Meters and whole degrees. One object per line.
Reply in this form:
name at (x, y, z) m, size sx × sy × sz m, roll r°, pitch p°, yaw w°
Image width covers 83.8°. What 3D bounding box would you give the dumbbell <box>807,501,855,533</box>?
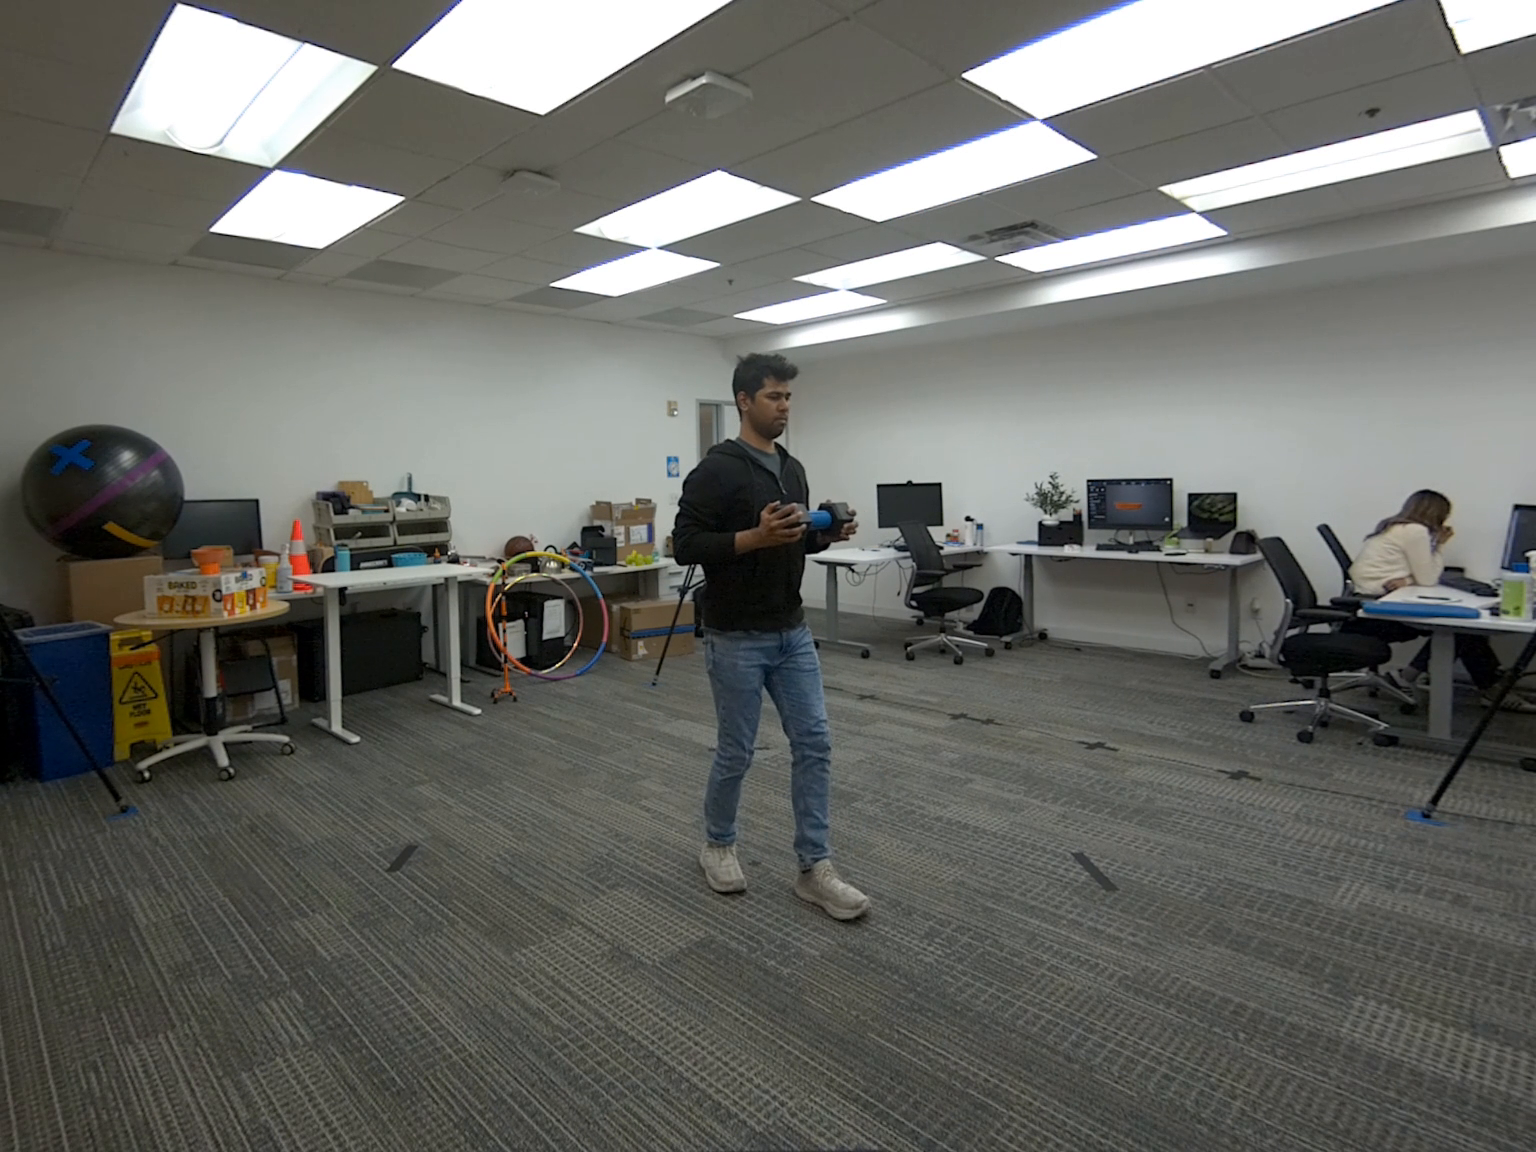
dumbbell at (0.131, -0.172, 2.721) m, size 0.286 × 0.121 × 0.113 m, roll -7°, pitch 36°, yaw -43°
